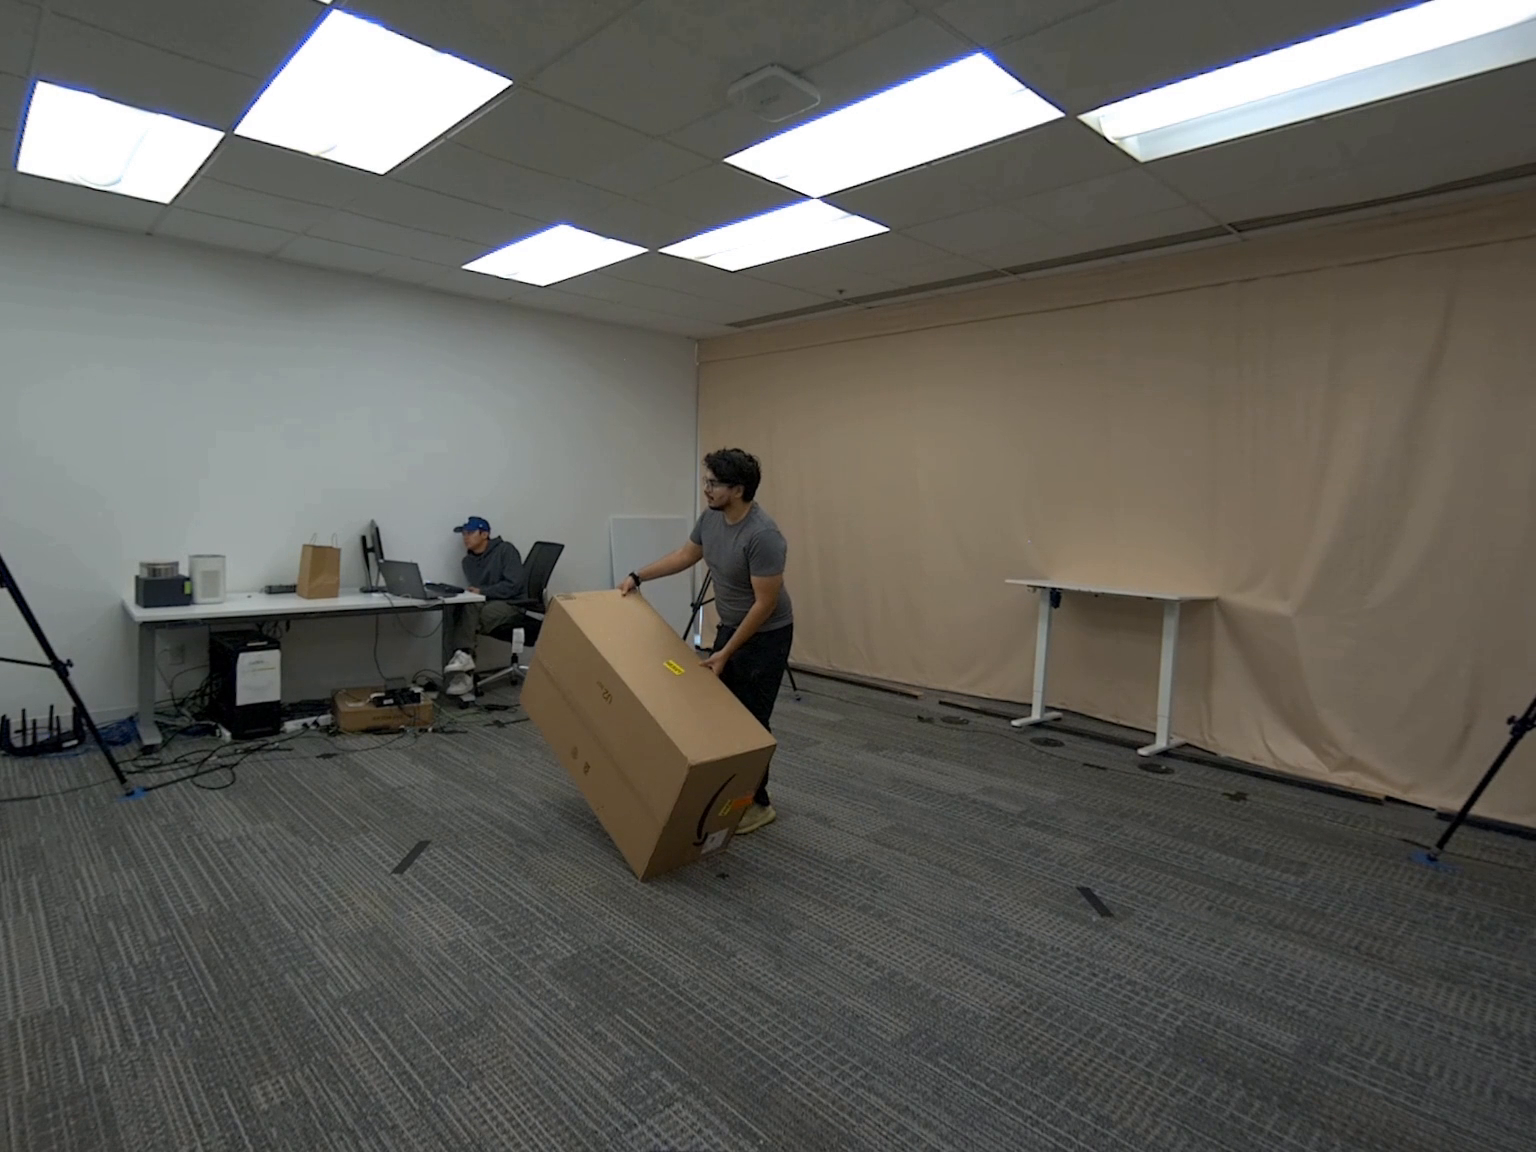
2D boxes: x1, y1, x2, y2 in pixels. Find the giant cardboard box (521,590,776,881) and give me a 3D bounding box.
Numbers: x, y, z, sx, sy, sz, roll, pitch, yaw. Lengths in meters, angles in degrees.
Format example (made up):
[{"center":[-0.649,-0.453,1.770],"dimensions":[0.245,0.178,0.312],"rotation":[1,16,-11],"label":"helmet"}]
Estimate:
[{"center":[-0.530,0.587,3.379],"dimensions":[0.416,0.573,1.058],"rotation":[-2,34,-45],"label":"giant cardboard box"}]
